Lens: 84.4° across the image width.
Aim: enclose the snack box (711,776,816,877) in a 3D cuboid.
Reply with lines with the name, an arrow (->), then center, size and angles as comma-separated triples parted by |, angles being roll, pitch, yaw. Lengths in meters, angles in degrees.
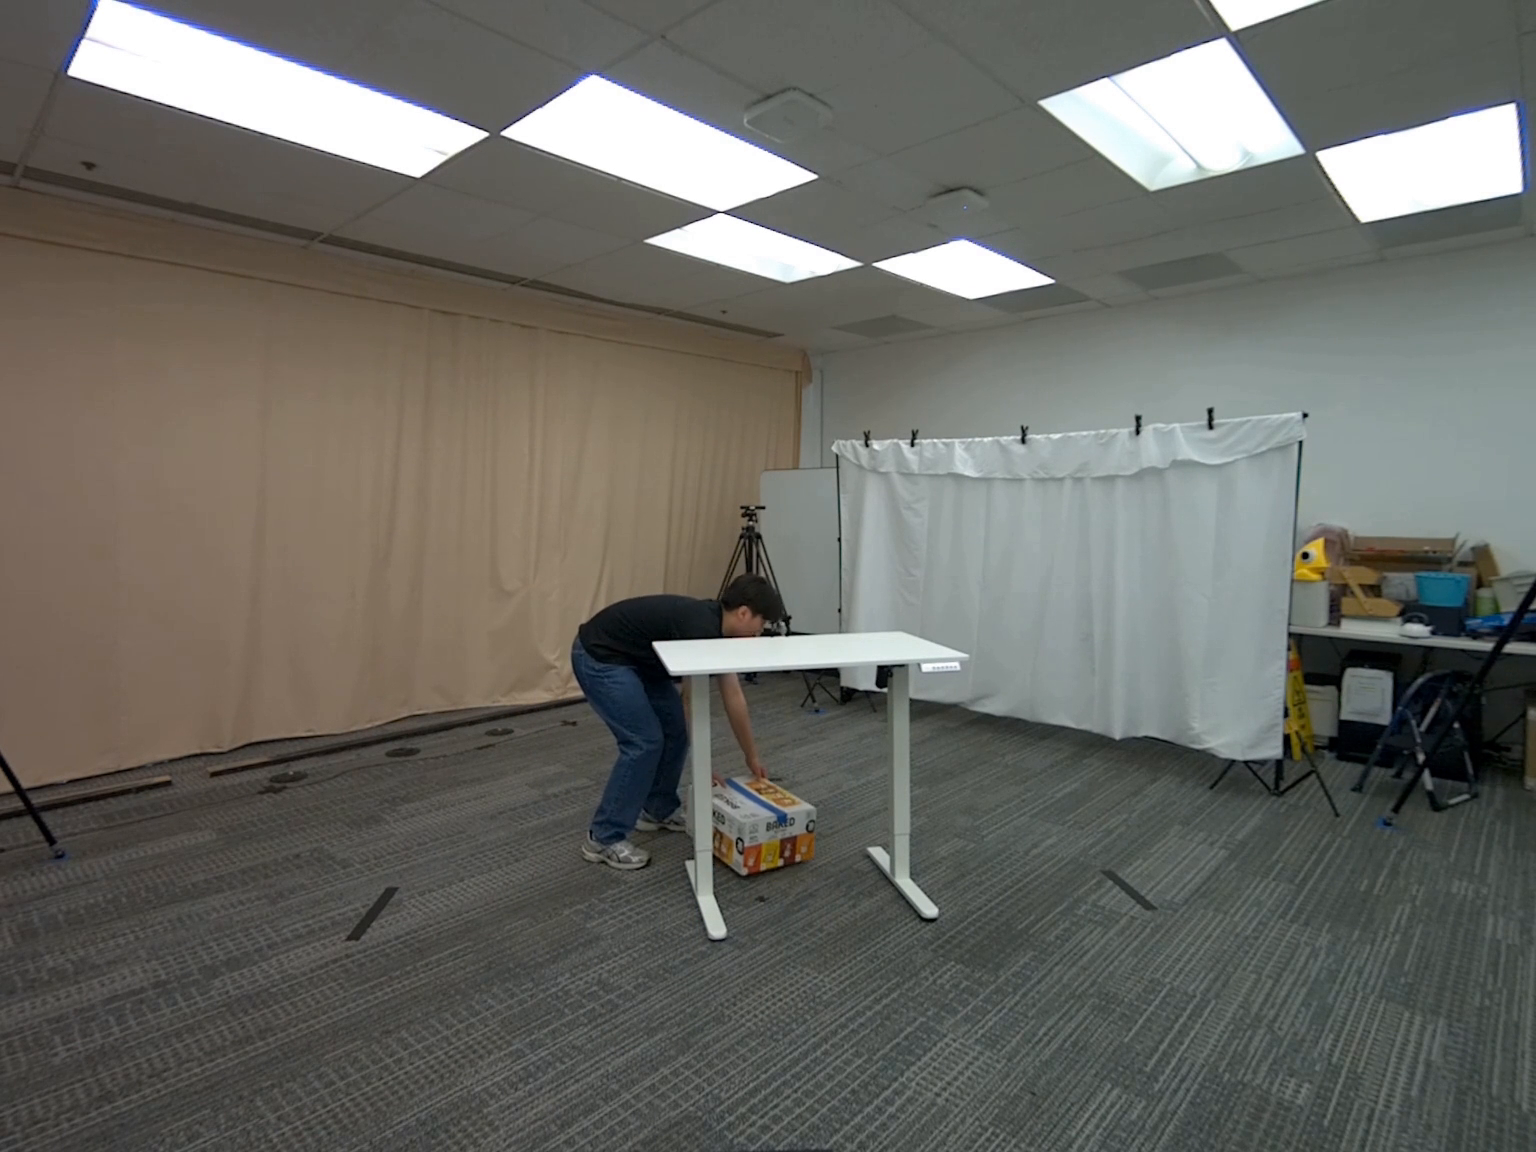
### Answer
snack box -> -0.068, 0.963, 3.355 | 0.330, 0.205, 0.419 | -1, 8, -35
